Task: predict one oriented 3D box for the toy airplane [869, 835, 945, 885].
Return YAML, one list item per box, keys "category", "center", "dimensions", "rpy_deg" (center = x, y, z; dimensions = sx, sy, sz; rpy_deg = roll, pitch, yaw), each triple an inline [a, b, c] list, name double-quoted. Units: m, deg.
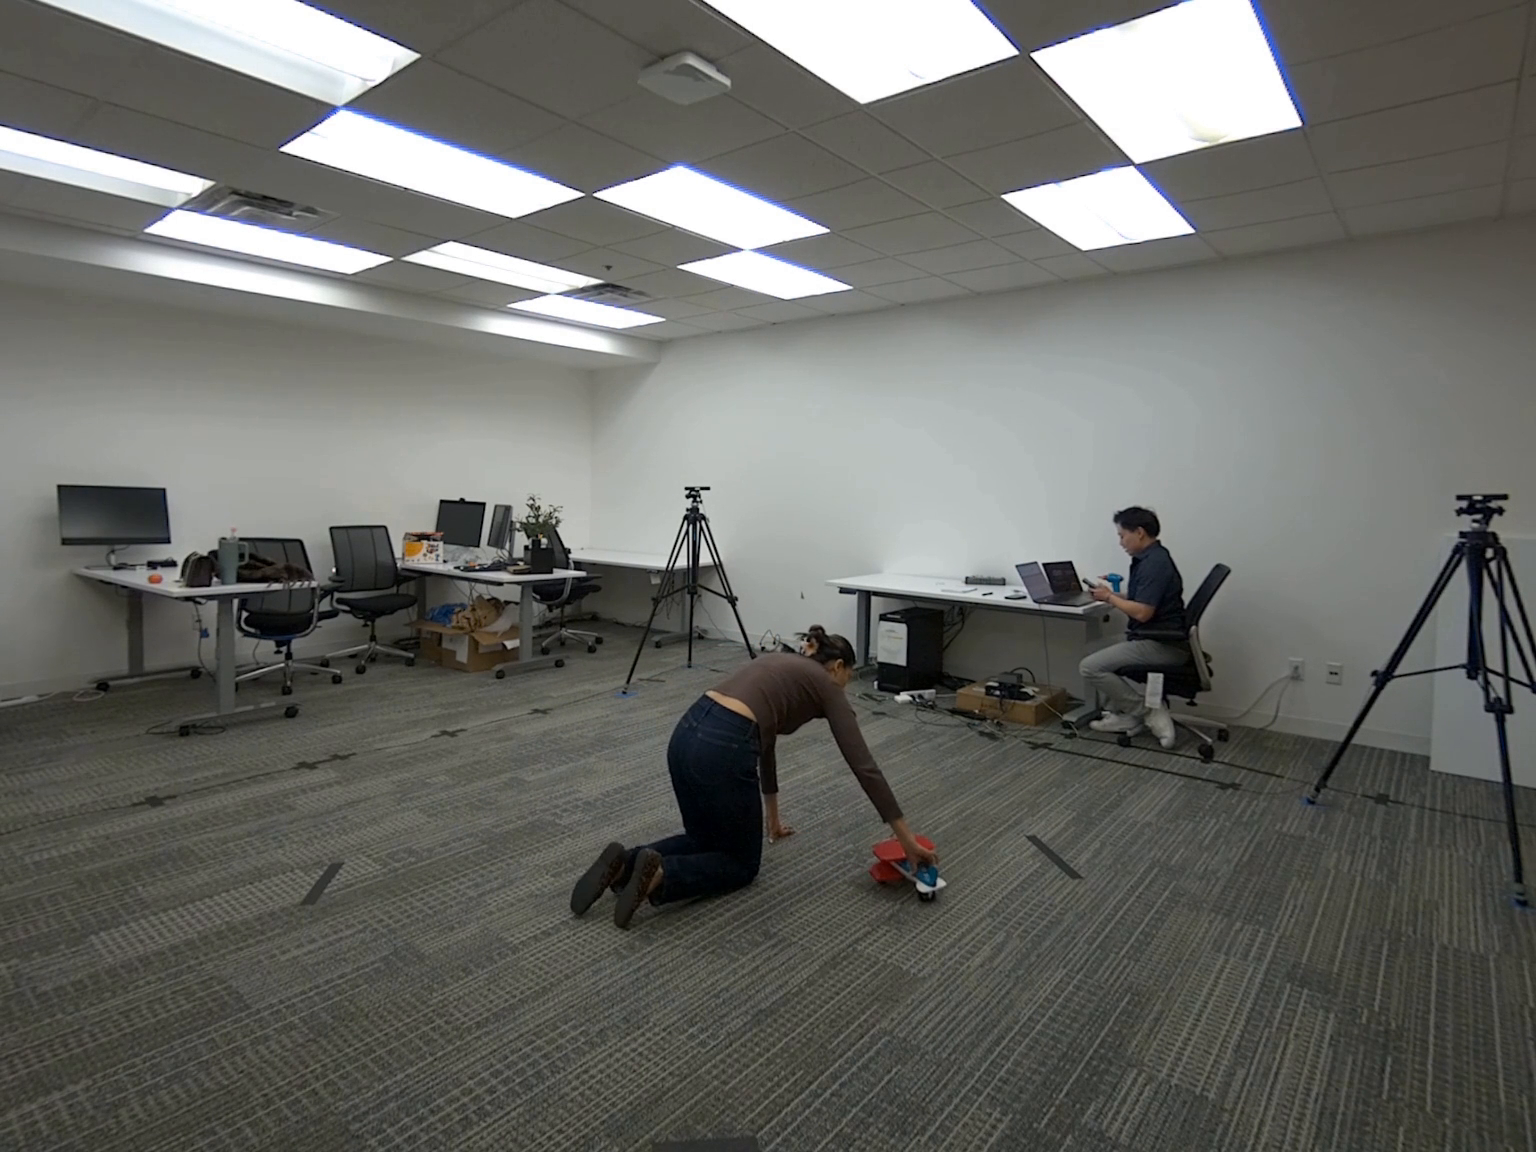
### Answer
- category: "toy airplane"
  center: [0.493, 1.020, 2.988]
  dimensions: [0.266, 0.156, 0.245]
  rpy_deg: [3, 5, 28]
